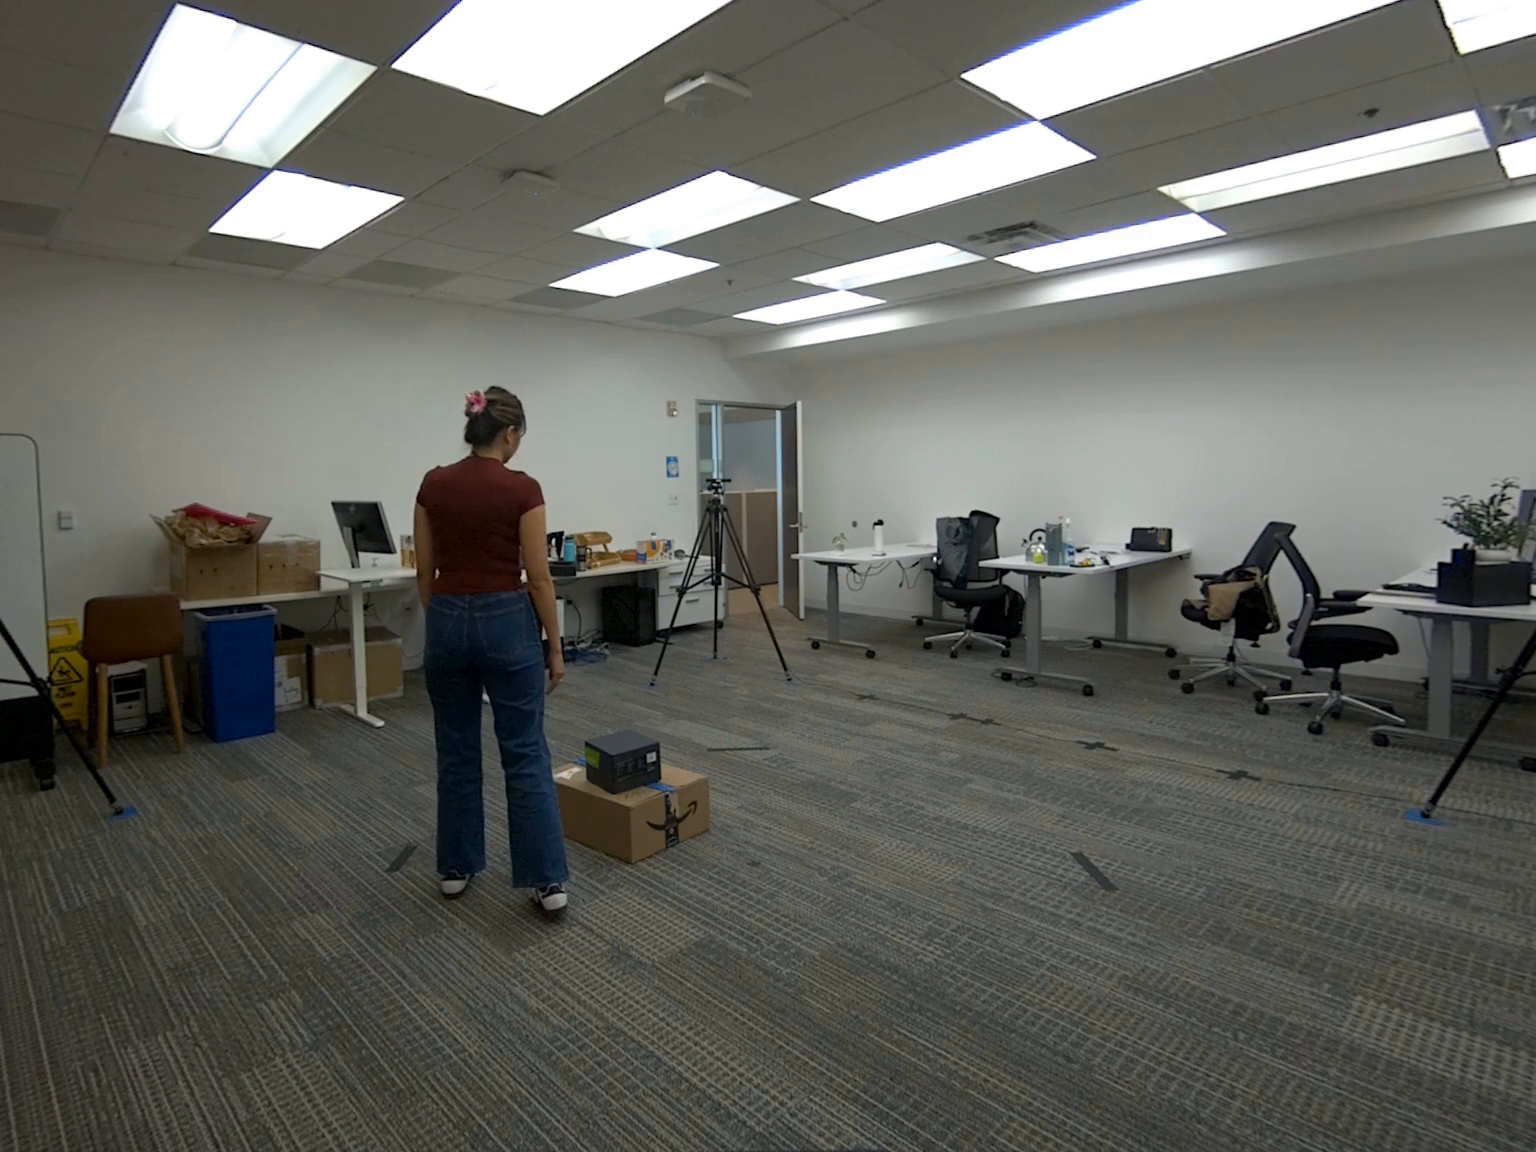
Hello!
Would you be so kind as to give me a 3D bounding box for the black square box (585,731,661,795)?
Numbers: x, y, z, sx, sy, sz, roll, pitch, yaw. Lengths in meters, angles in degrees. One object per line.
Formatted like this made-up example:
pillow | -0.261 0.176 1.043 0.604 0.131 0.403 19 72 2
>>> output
black square box | -0.575 0.724 3.366 0.212 0.155 0.235 -8 9 -38
